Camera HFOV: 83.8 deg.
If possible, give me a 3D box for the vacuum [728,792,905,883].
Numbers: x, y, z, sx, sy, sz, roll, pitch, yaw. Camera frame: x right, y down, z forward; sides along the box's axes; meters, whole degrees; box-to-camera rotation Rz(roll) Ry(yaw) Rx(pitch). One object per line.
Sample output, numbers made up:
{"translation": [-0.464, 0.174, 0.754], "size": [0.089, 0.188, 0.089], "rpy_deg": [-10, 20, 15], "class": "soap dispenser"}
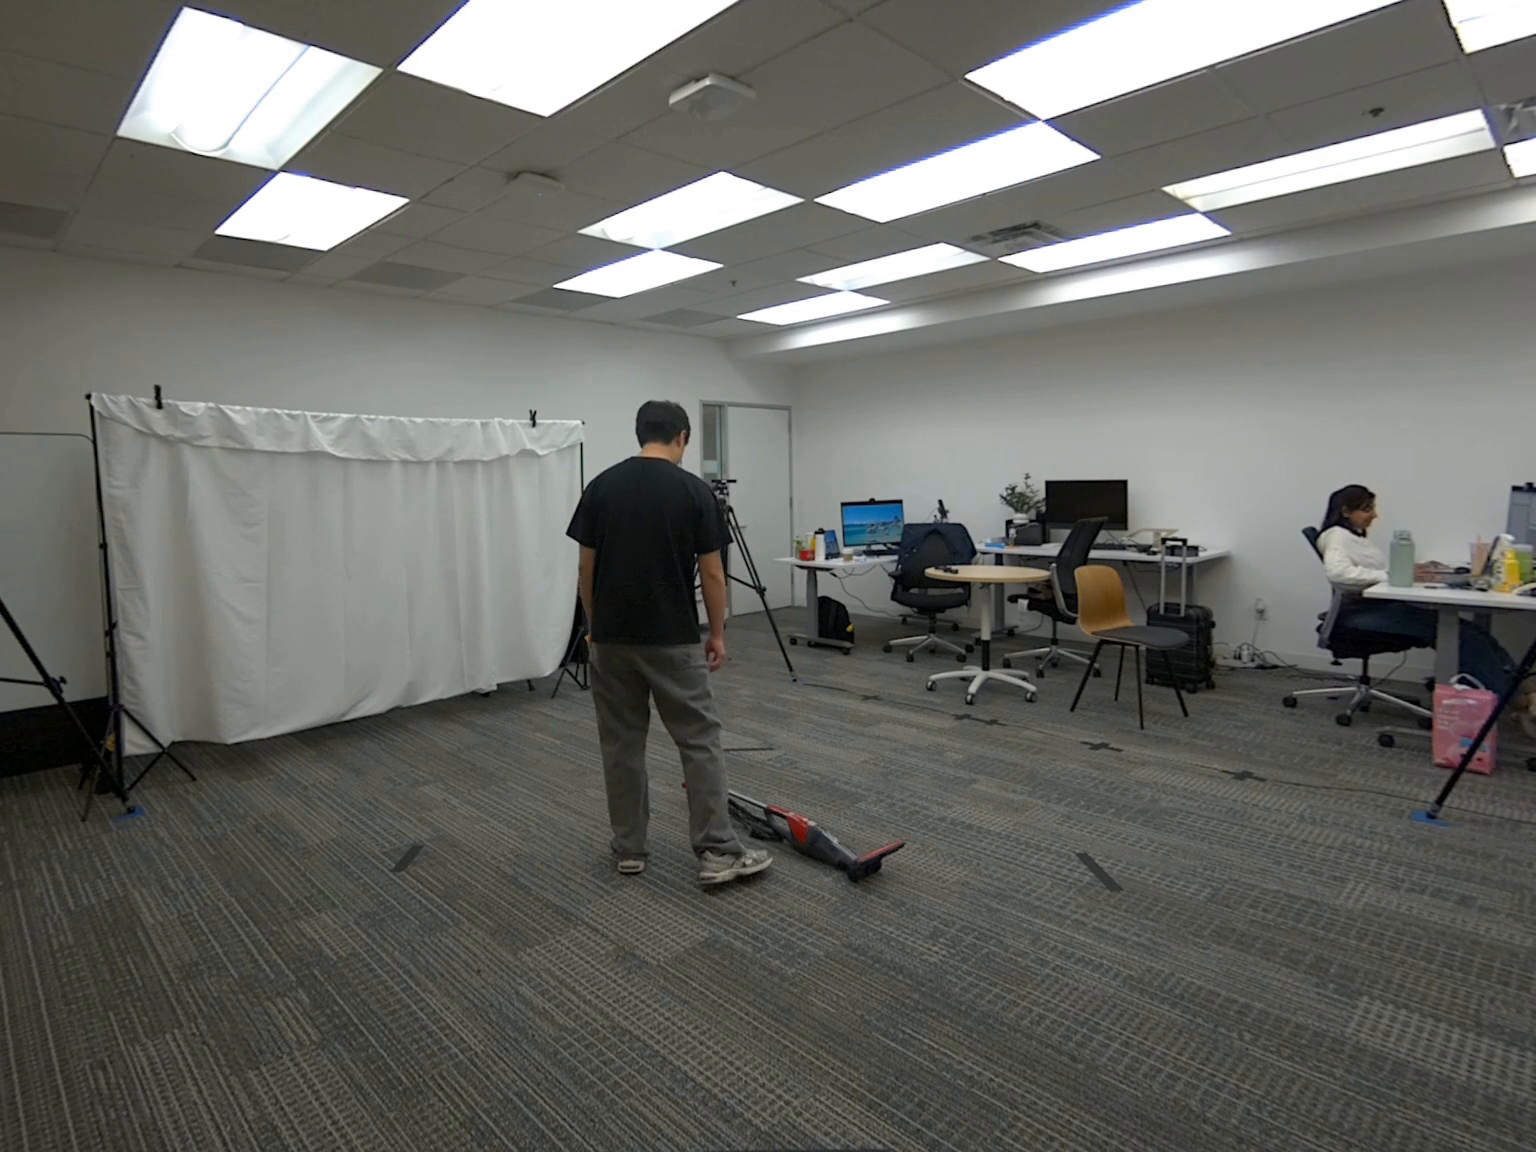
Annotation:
{"translation": [0.002, 0.955, 3.356], "size": [0.246, 0.143, 1.082], "rpy_deg": [-10, 10, -41], "class": "vacuum"}
